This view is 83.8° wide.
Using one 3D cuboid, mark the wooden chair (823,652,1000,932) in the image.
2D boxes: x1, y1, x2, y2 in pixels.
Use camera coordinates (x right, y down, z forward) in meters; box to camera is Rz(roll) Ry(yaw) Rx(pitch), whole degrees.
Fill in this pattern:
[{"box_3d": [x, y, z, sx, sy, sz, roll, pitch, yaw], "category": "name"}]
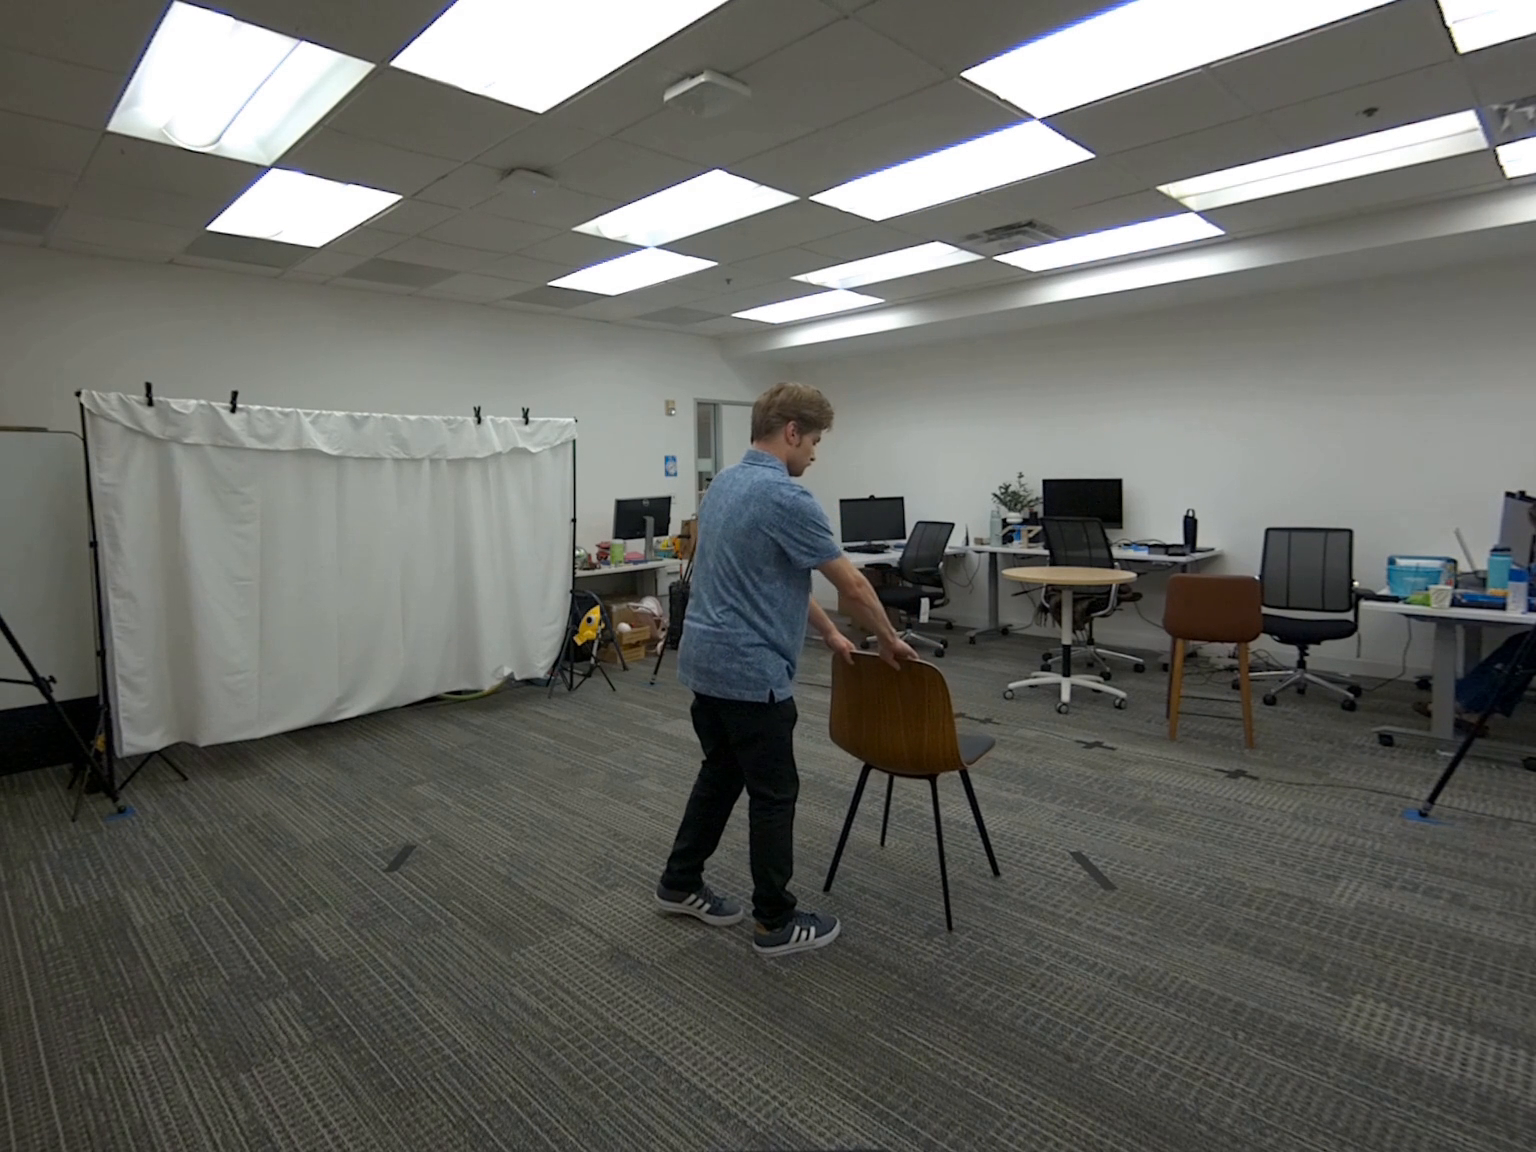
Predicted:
[{"box_3d": [0.493, 0.626, 2.899, 0.492, 0.871, 0.512, 2, 9, 35], "category": "wooden chair"}]
